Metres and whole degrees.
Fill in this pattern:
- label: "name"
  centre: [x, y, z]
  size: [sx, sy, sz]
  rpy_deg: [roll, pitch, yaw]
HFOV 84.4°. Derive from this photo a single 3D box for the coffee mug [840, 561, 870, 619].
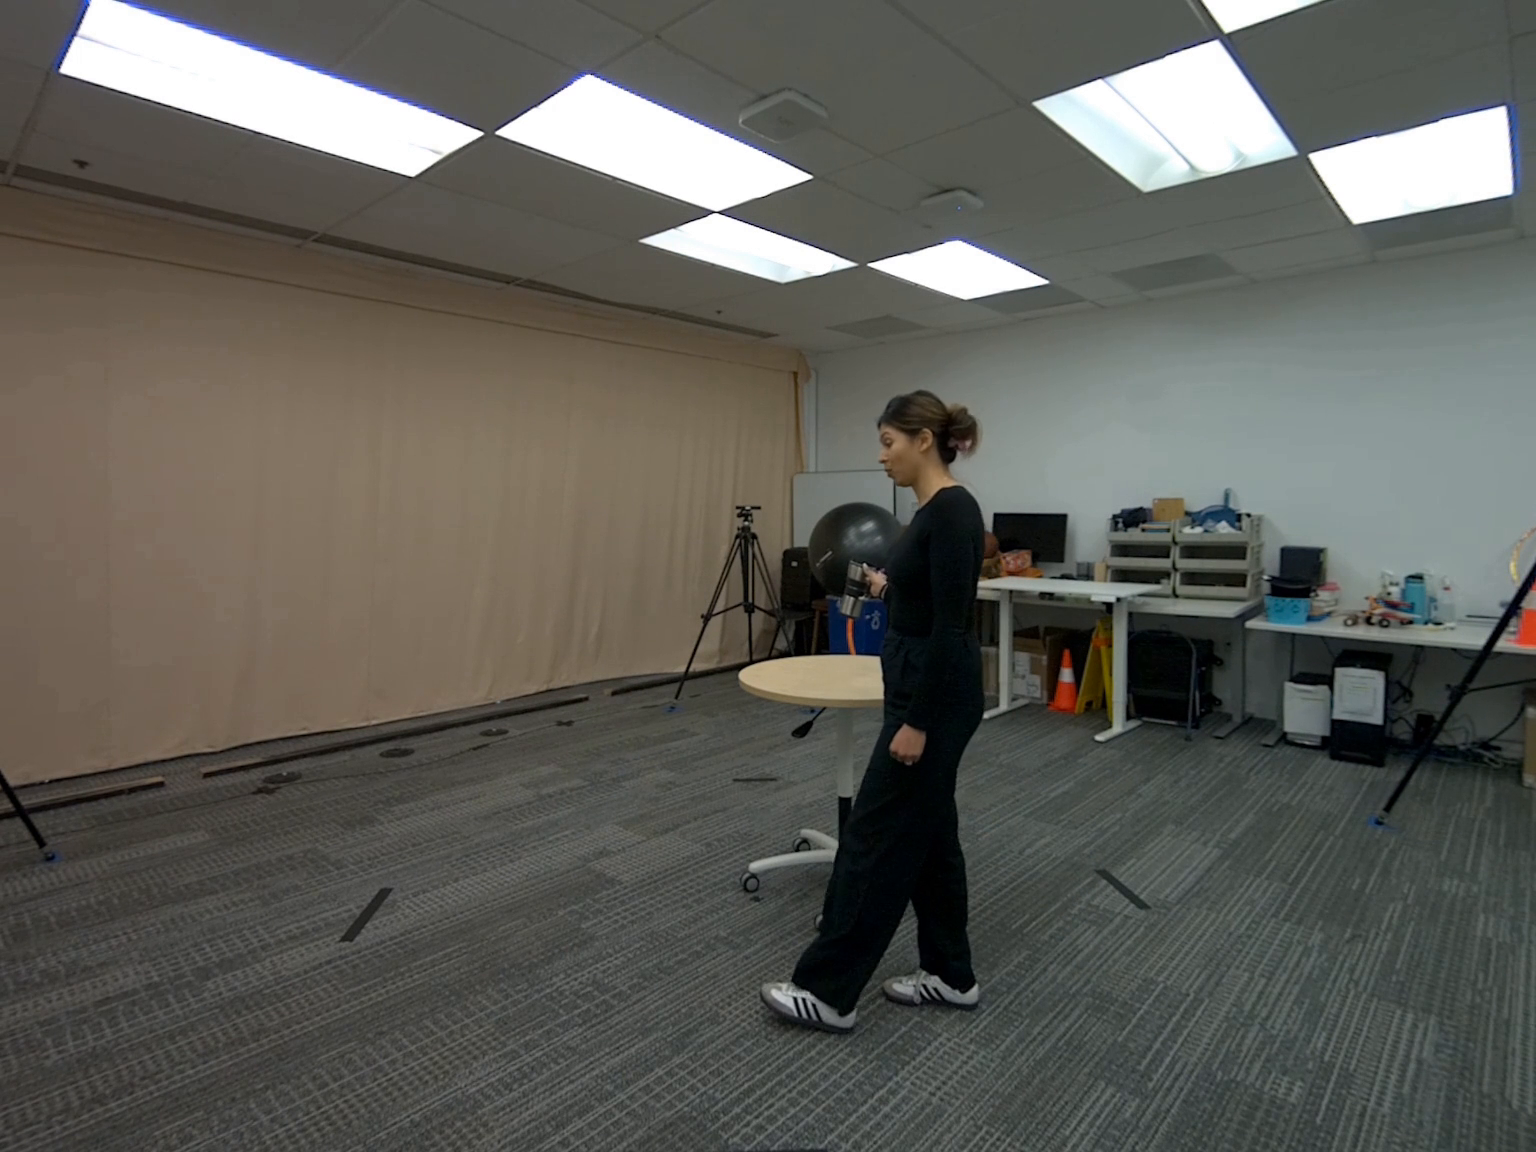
- label: "coffee mug"
  centre: [0.304, 0.048, 2.820]
  size: [0.089, 0.202, 0.120]
  rpy_deg: [18, 9, 10]
